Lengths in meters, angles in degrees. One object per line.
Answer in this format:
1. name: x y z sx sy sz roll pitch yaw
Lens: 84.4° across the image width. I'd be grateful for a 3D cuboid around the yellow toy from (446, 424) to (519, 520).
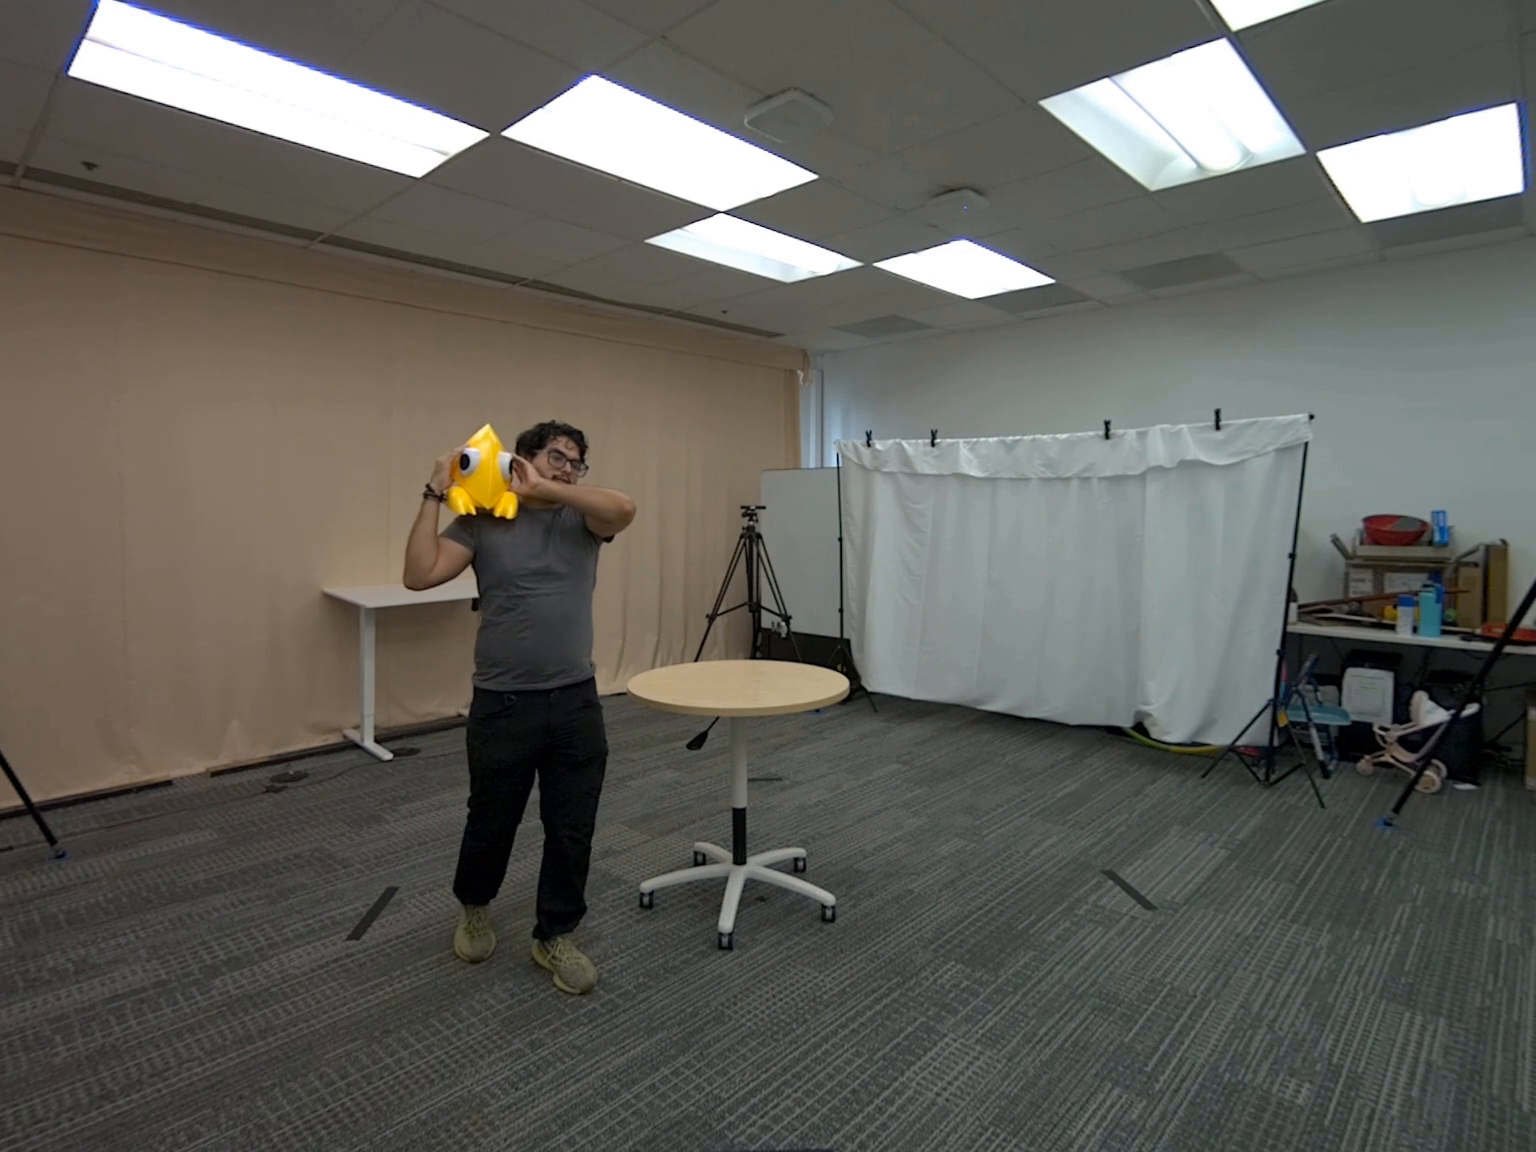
1. yellow toy: -0.794 -0.302 2.375 0.199 0.229 0.200 5 19 -30
